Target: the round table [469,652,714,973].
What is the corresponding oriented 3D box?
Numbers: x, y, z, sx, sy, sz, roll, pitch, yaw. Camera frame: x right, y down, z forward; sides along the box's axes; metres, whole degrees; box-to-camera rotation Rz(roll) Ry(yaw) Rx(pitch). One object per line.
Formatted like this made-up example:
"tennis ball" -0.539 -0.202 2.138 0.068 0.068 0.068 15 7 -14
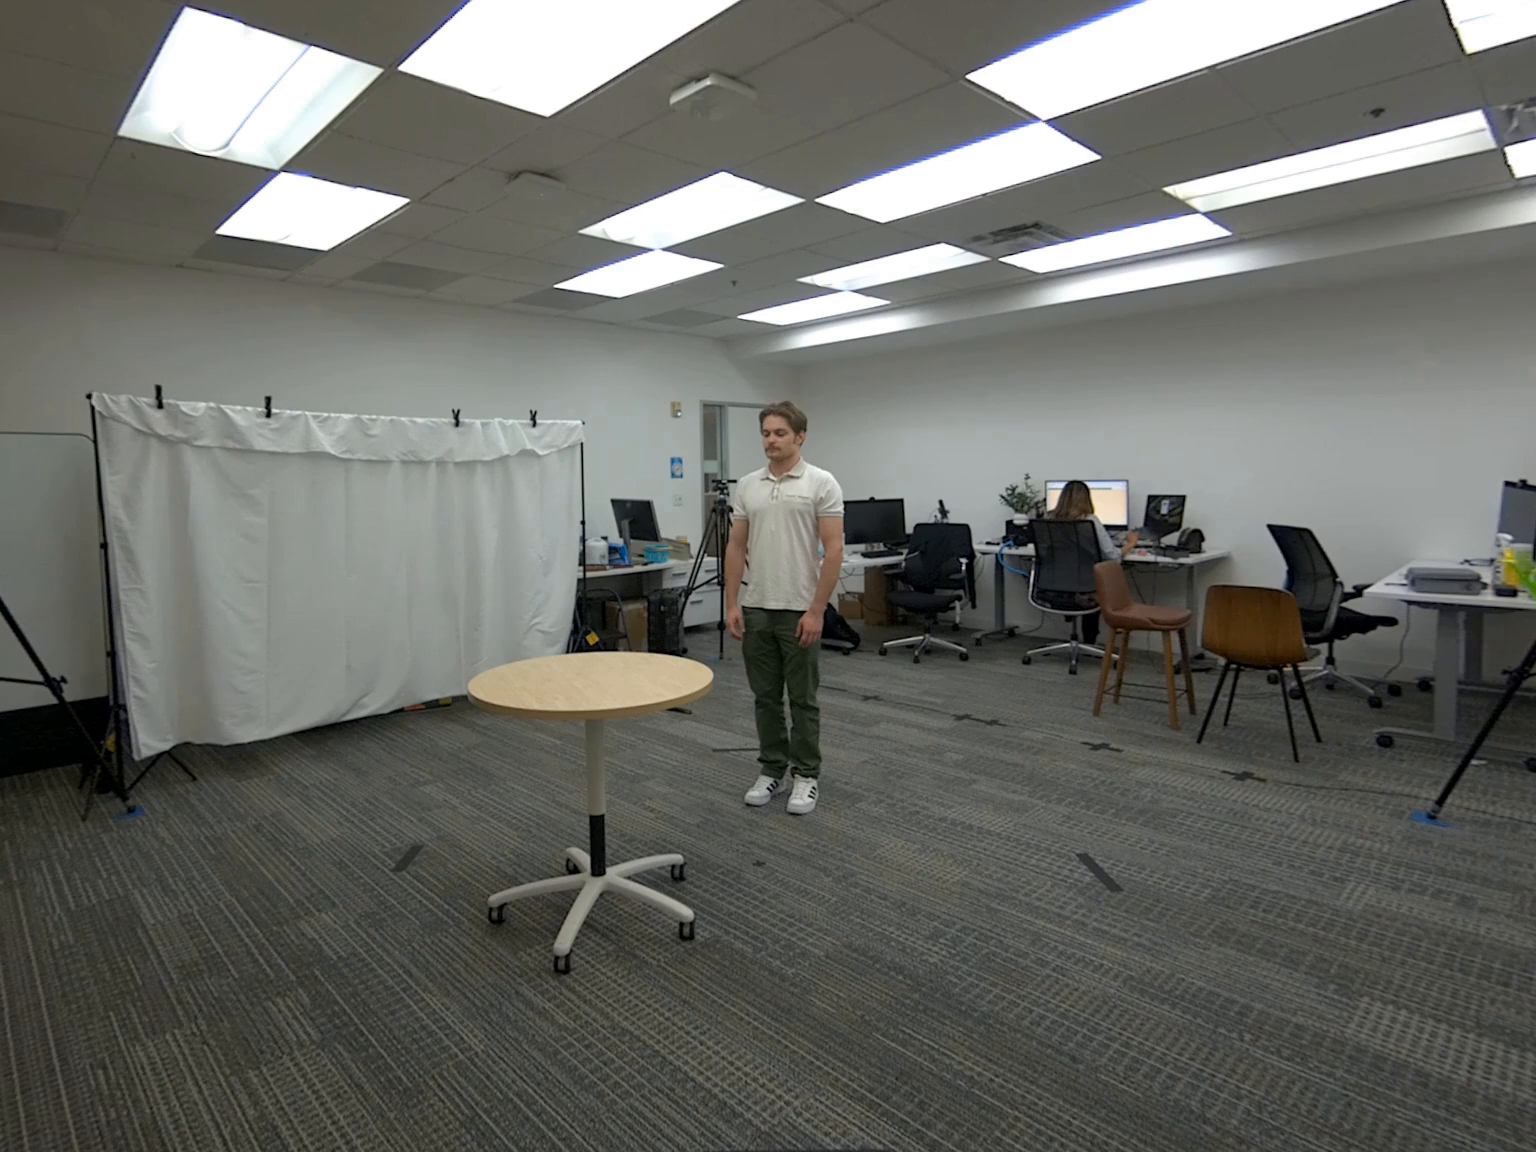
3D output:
"round table" -0.546 0.705 2.753 0.784 0.783 0.790 -1 6 -2
